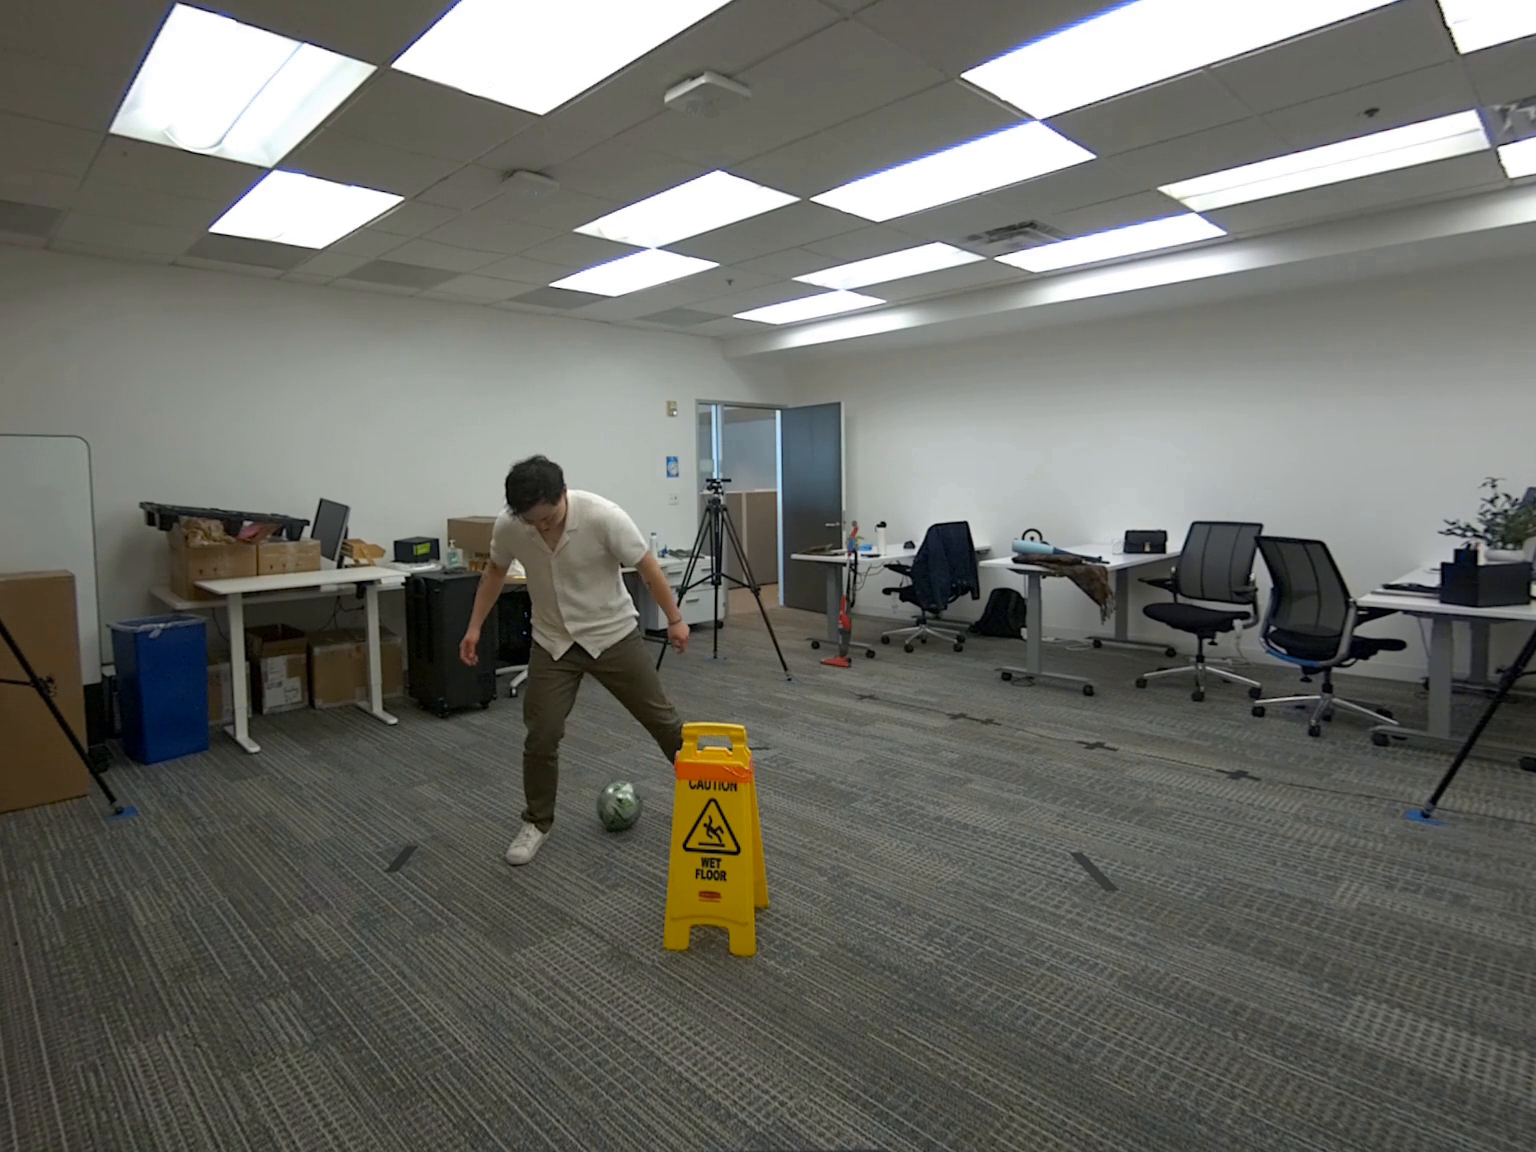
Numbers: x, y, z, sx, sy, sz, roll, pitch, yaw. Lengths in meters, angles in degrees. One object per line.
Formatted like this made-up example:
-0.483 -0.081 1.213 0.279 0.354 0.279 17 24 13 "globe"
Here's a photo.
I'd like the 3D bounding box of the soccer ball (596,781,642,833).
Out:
-0.593 0.926 3.445 0.187 0.187 0.188 -1 5 -2 "soccer ball"
